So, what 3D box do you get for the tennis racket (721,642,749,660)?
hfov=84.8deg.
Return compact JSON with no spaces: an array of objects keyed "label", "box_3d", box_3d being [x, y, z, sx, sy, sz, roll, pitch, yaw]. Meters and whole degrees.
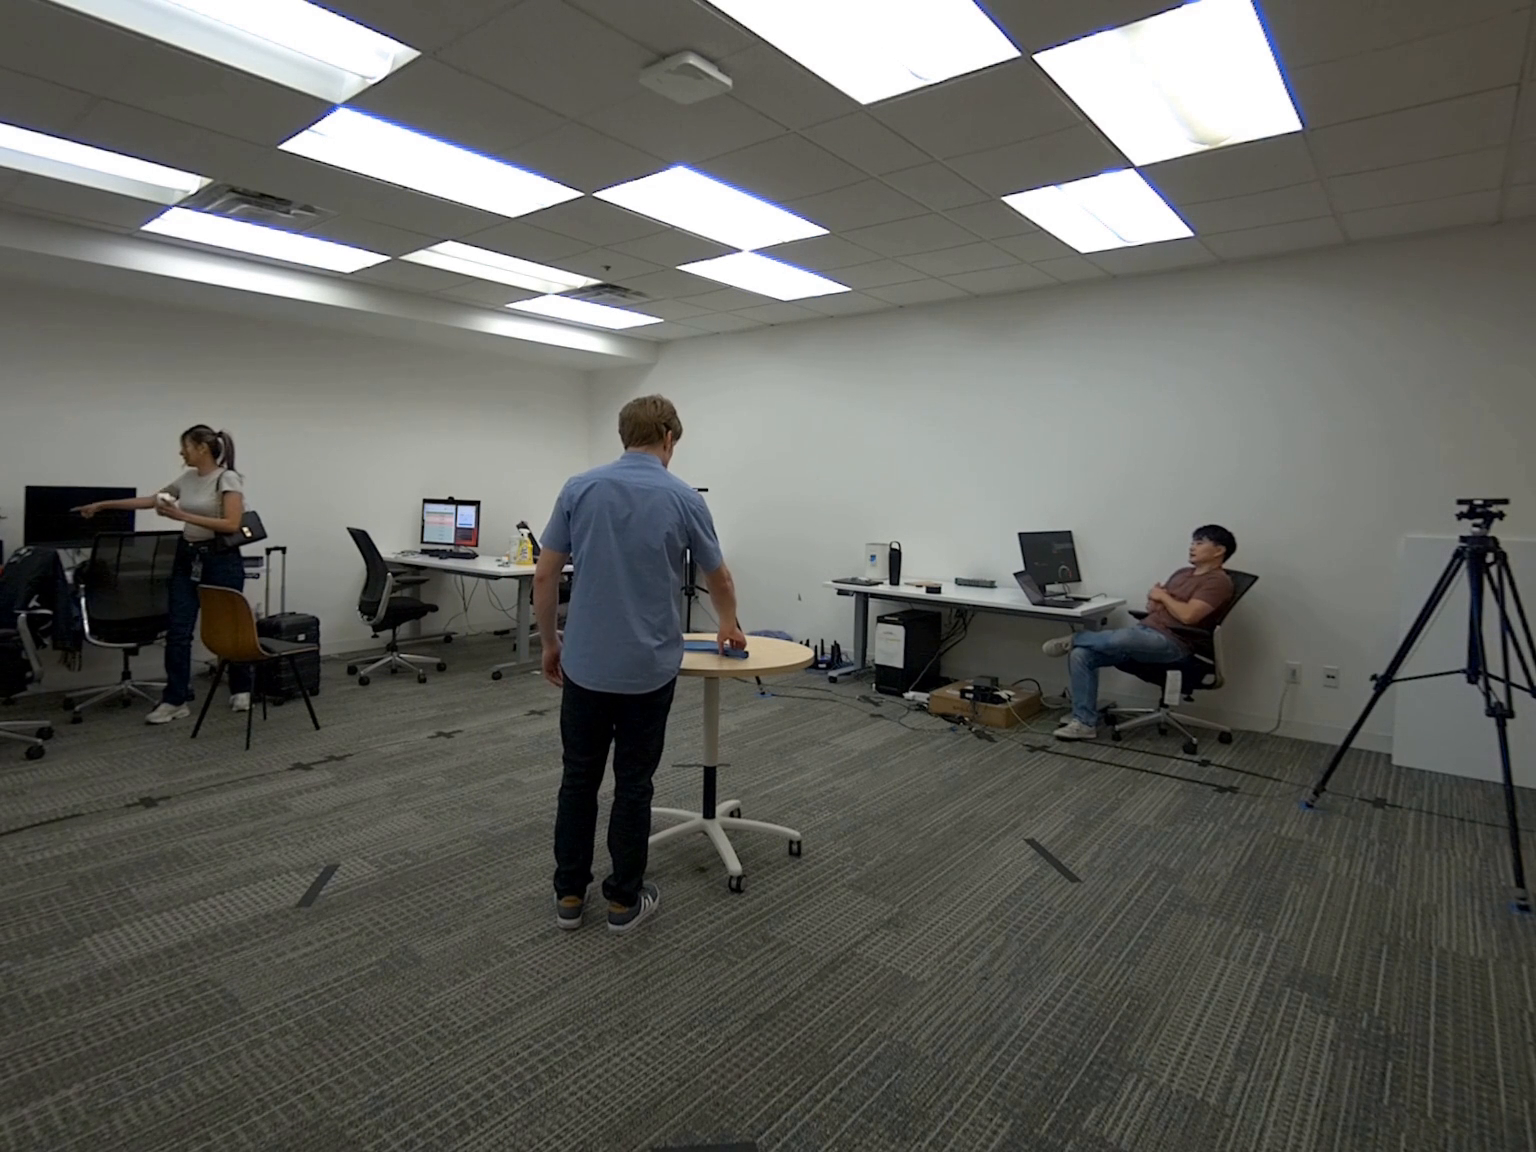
[{"label":"tennis racket","box_3d":[-0.225,0.270,3.181,0.207,0.032,0.446,-2,4,-35]}]
